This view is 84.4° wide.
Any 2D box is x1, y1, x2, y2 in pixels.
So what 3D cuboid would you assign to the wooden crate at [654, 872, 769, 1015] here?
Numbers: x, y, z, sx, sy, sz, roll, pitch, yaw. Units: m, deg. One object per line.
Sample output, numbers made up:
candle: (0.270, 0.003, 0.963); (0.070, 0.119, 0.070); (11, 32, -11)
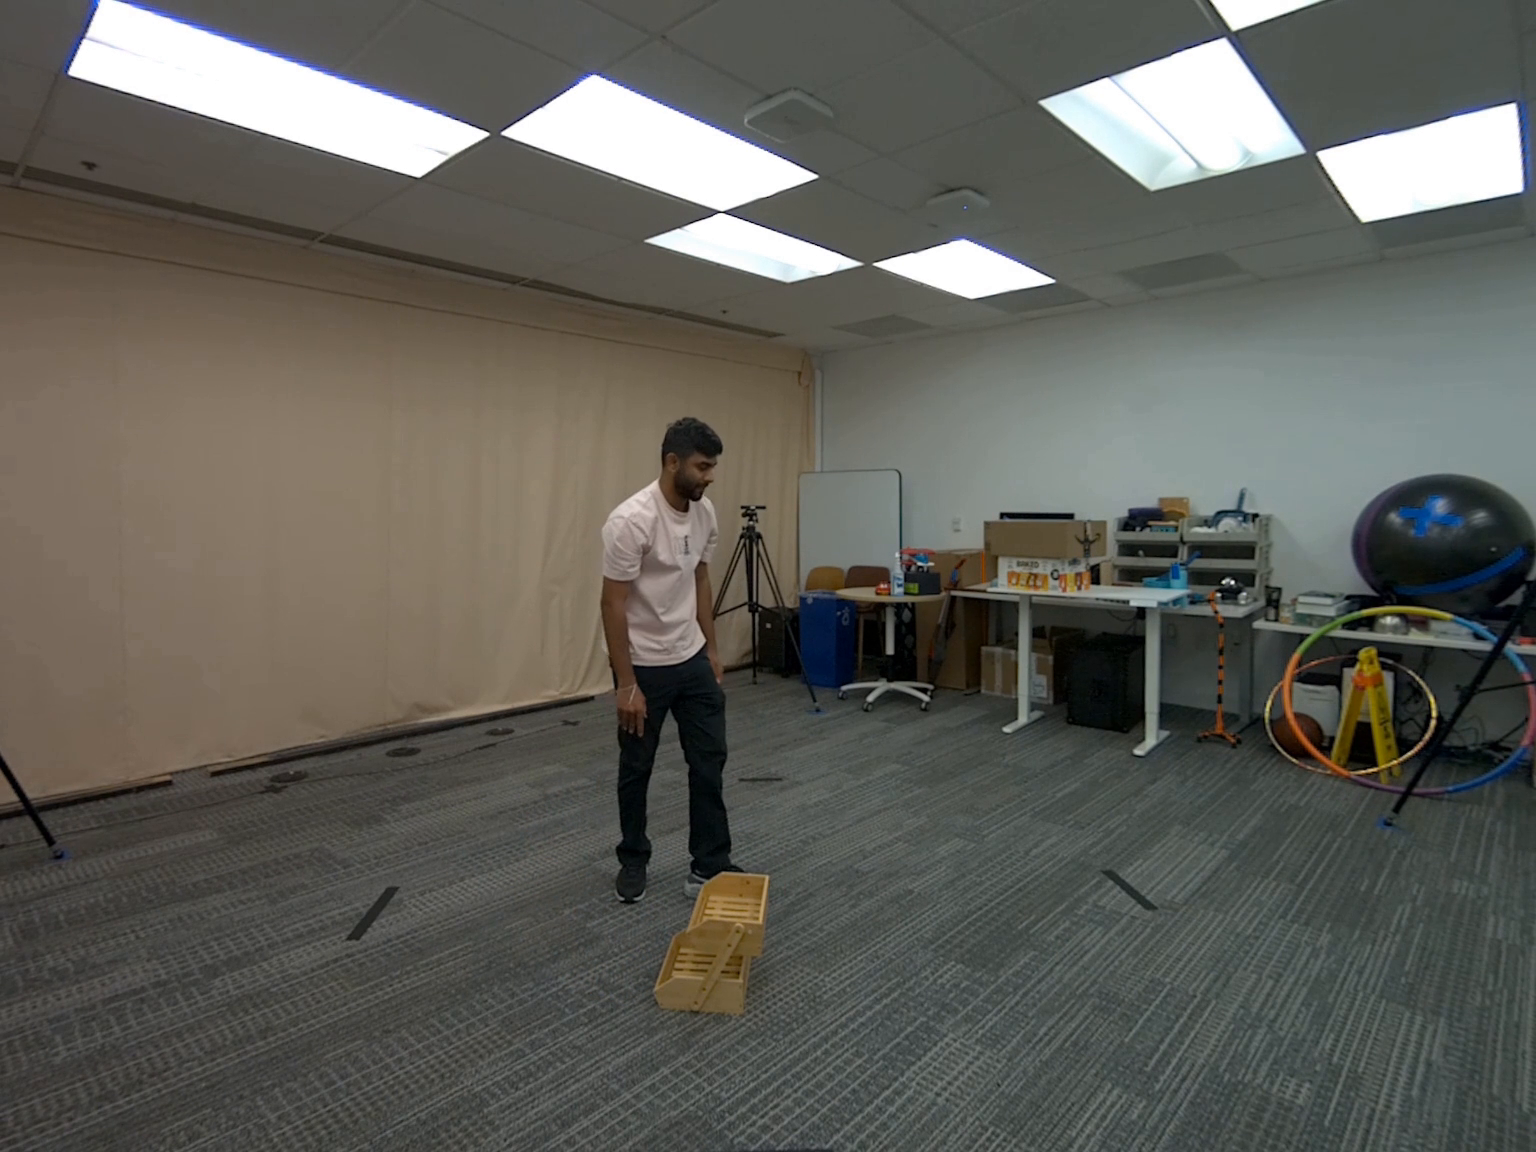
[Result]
wooden crate: (-0.156, 1.053, 2.455); (0.304, 0.273, 0.323); (1, 4, 5)
